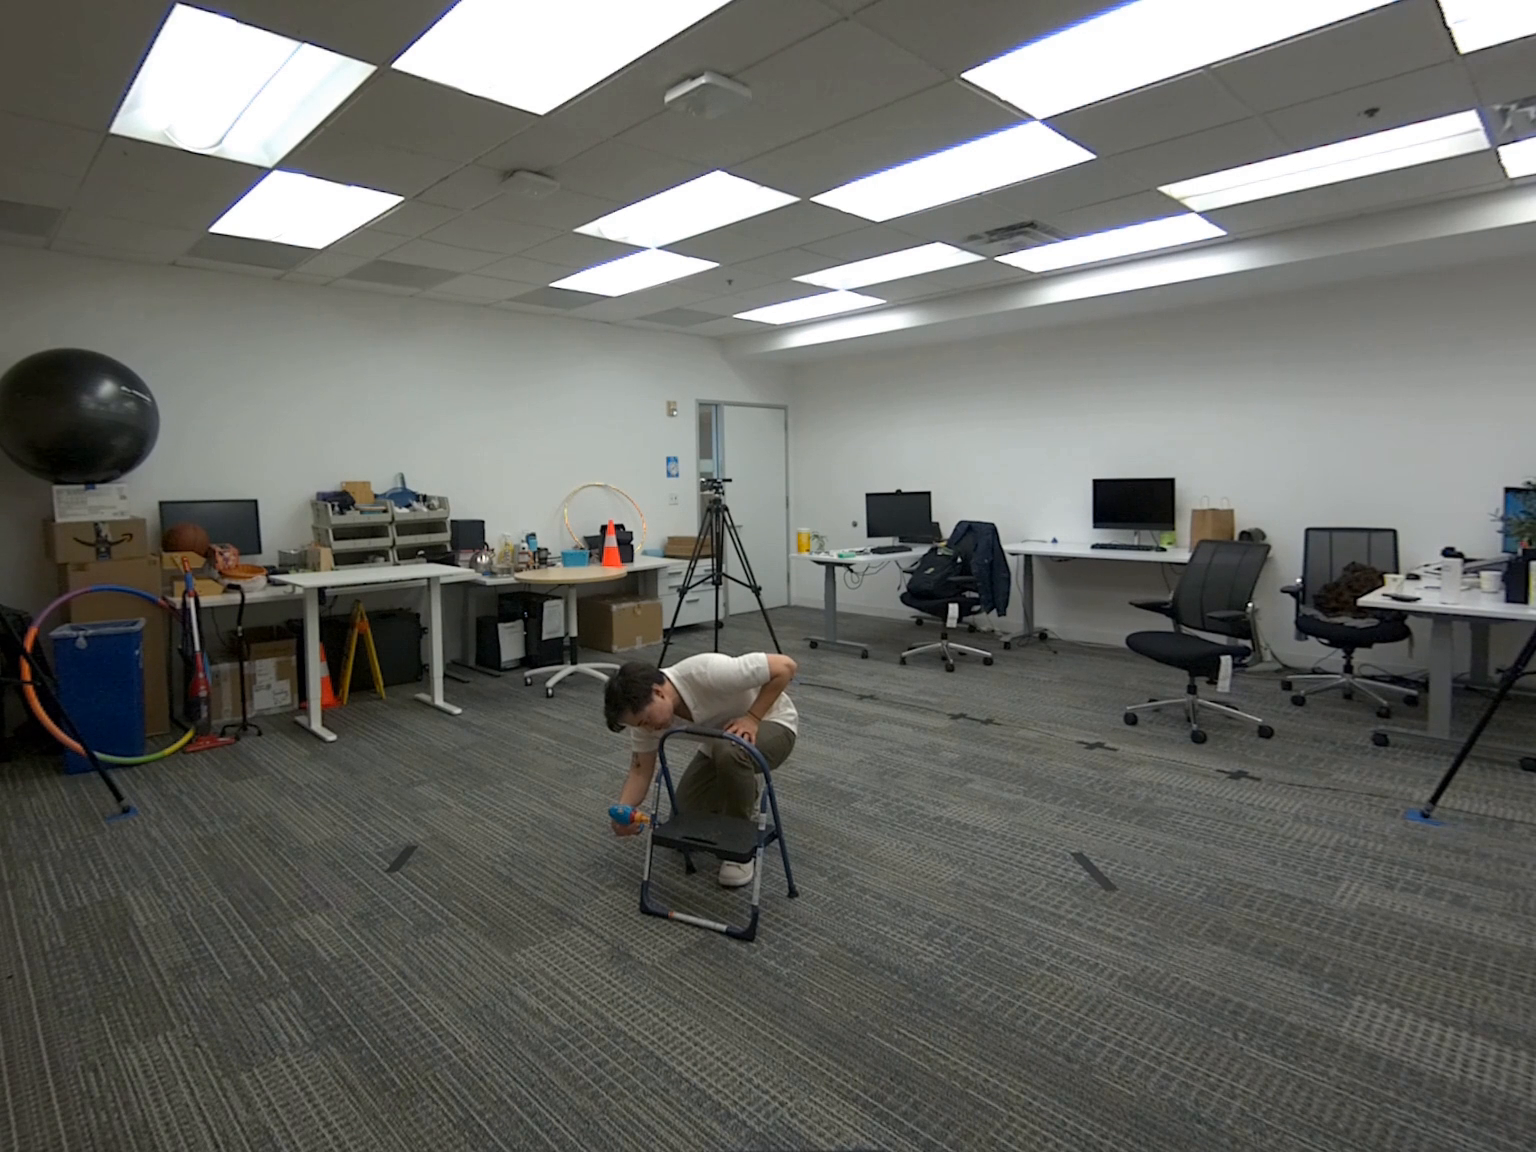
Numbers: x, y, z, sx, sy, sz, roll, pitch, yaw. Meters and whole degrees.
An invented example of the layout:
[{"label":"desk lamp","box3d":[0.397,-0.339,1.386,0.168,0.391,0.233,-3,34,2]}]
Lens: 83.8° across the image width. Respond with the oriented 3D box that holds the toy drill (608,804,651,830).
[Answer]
[{"label":"toy drill","box3d":[-0.450,0.823,2.895,0.174,0.062,0.140,4,-27,27]}]
